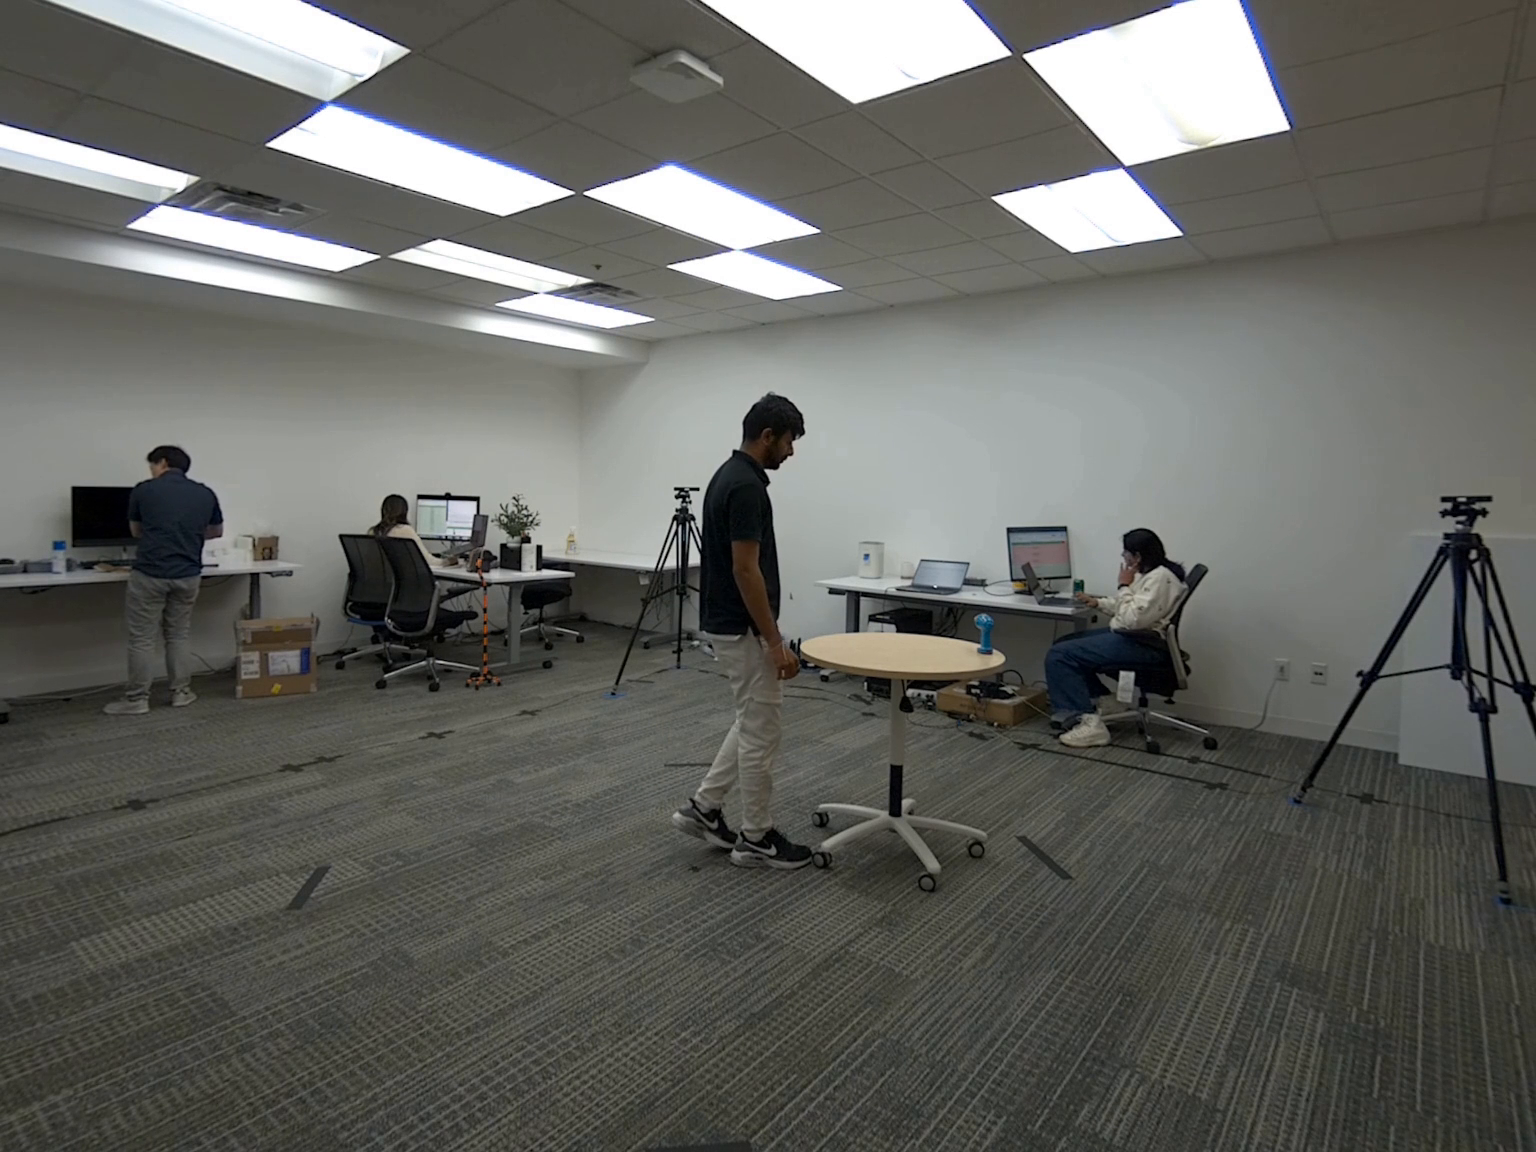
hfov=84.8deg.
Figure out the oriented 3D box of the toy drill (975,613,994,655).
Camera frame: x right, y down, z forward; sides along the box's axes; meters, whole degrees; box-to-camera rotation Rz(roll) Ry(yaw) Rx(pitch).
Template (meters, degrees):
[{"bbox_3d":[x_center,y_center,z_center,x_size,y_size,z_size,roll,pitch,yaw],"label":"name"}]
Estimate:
[{"bbox_3d":[0.817,0.215,3.275,0.061,0.145,0.171,0,4,-7],"label":"toy drill"}]
